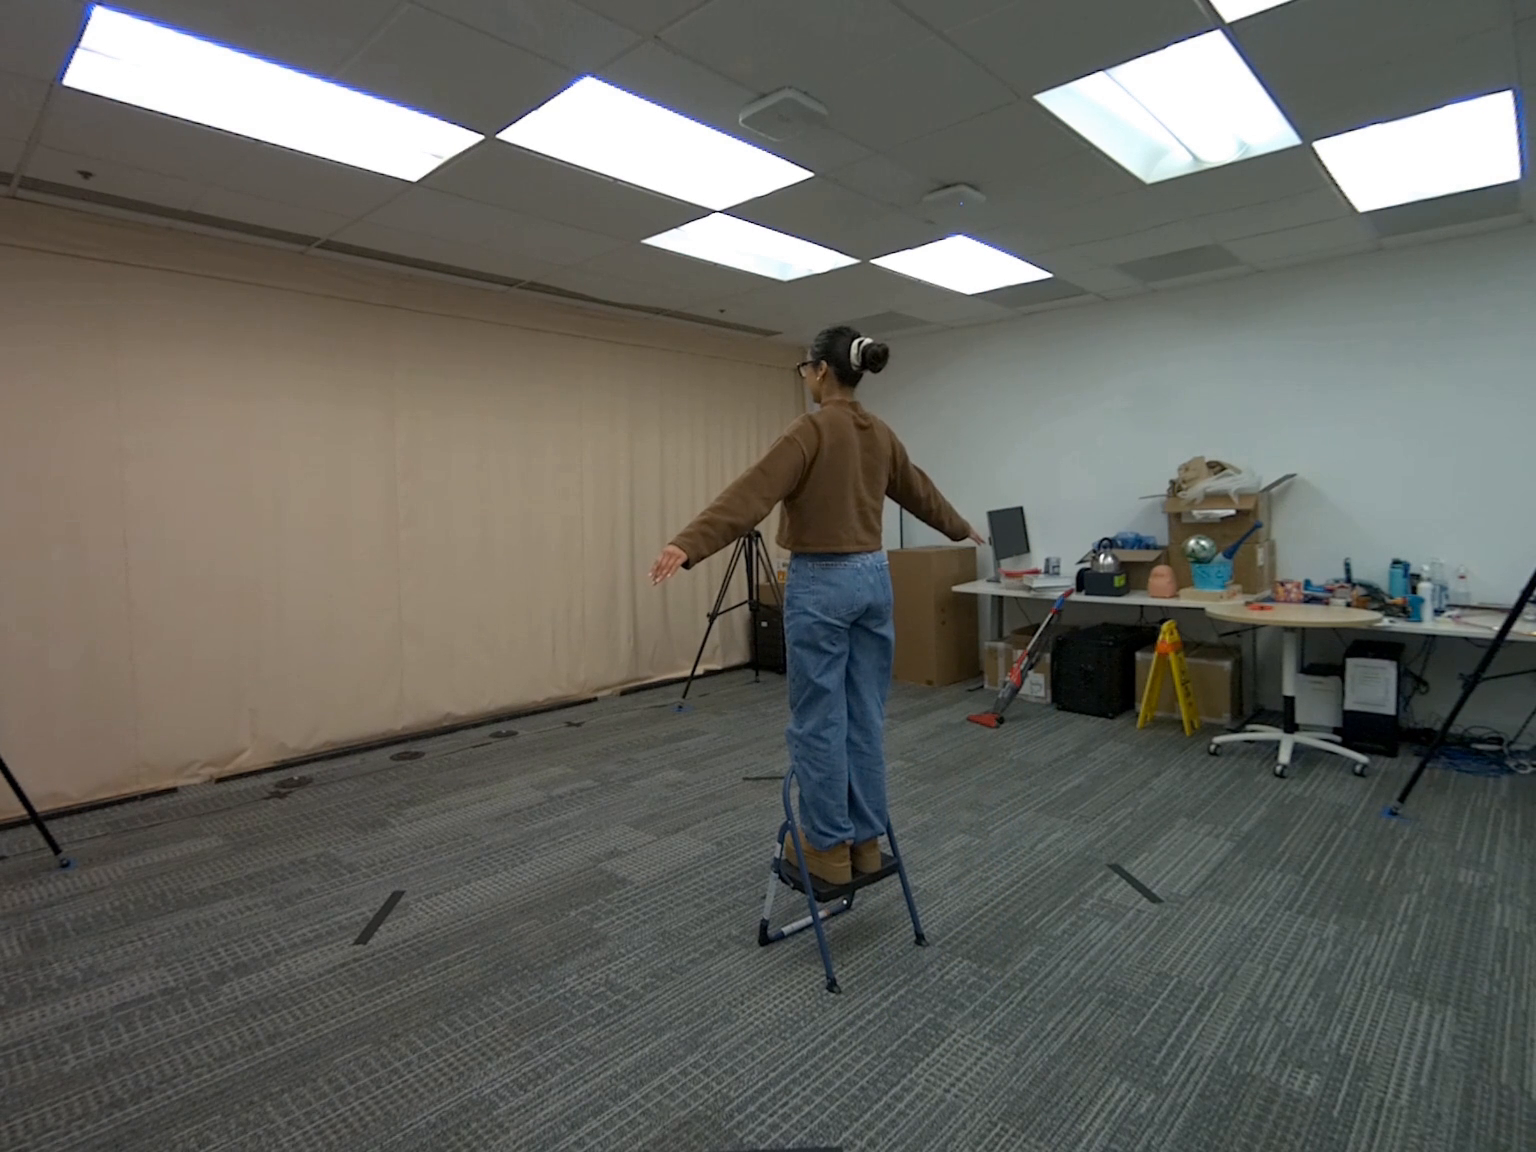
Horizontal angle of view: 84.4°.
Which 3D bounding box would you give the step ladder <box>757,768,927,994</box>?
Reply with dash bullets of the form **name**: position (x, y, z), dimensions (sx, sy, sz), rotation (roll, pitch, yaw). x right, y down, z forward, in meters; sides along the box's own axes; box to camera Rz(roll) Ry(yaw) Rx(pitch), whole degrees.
- **step ladder**: position (0.232, 0.864, 2.642), dimensions (0.418, 0.605, 0.361), rotation (-4, 4, -40)
